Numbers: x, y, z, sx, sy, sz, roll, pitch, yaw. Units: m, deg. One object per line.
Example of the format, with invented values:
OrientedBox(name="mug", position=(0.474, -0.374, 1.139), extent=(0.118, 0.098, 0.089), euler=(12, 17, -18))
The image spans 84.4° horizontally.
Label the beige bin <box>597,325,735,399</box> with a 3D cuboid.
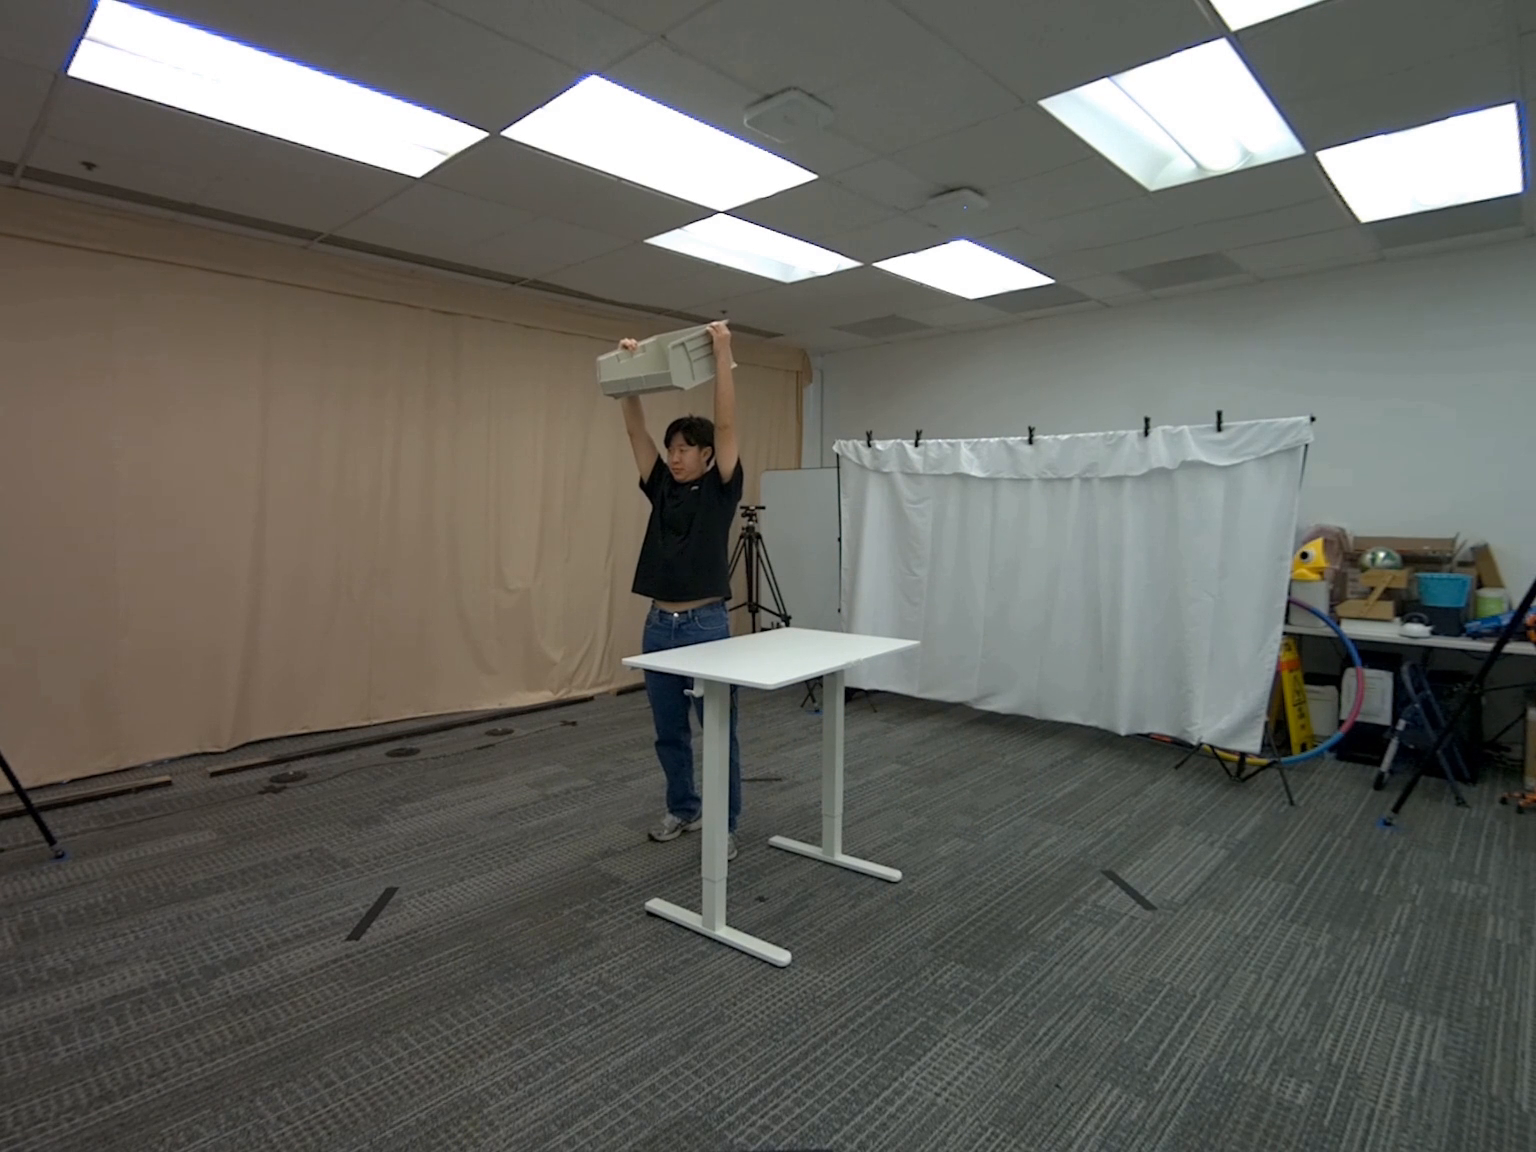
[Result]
OrientedBox(name="beige bin", position=(-0.399, -0.830, 3.296), extent=(0.436, 0.186, 0.371), euler=(3, 29, 42))
